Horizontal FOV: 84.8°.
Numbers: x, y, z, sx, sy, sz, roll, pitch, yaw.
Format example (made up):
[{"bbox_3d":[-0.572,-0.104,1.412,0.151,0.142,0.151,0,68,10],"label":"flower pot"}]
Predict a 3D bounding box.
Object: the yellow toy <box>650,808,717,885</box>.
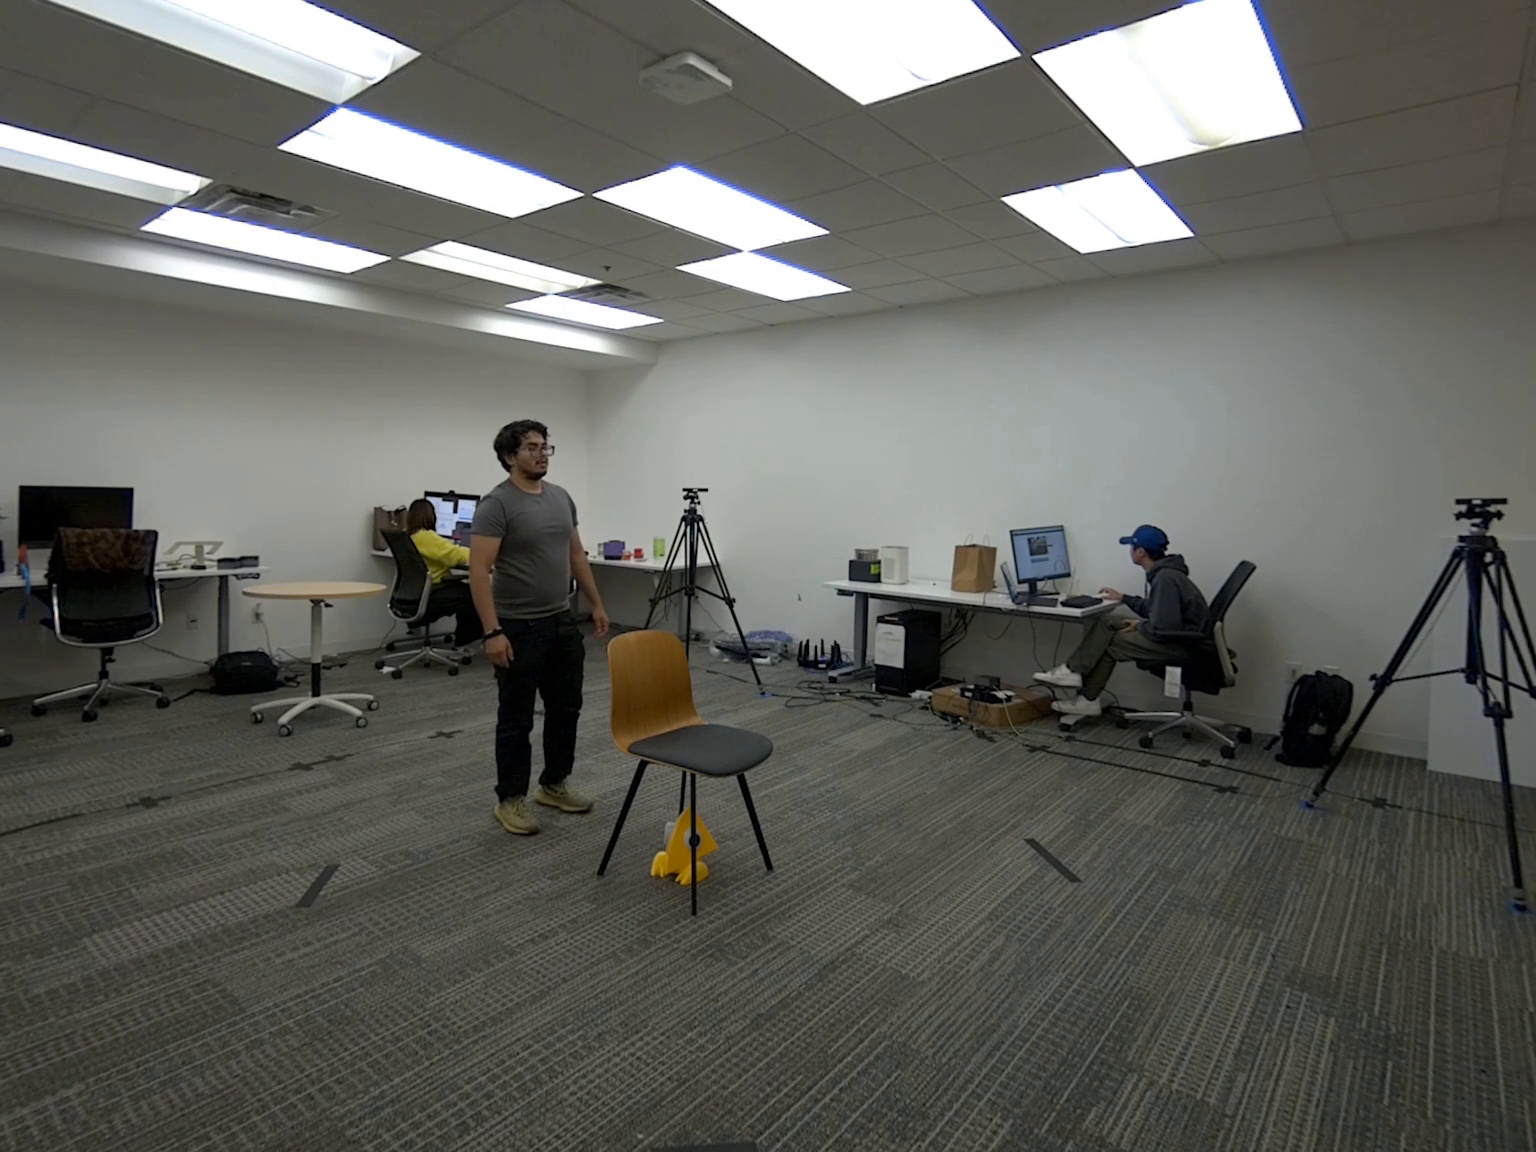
[{"bbox_3d":[-0.326,0.955,3.088,0.211,0.230,0.188,3,3,29],"label":"yellow toy"}]
